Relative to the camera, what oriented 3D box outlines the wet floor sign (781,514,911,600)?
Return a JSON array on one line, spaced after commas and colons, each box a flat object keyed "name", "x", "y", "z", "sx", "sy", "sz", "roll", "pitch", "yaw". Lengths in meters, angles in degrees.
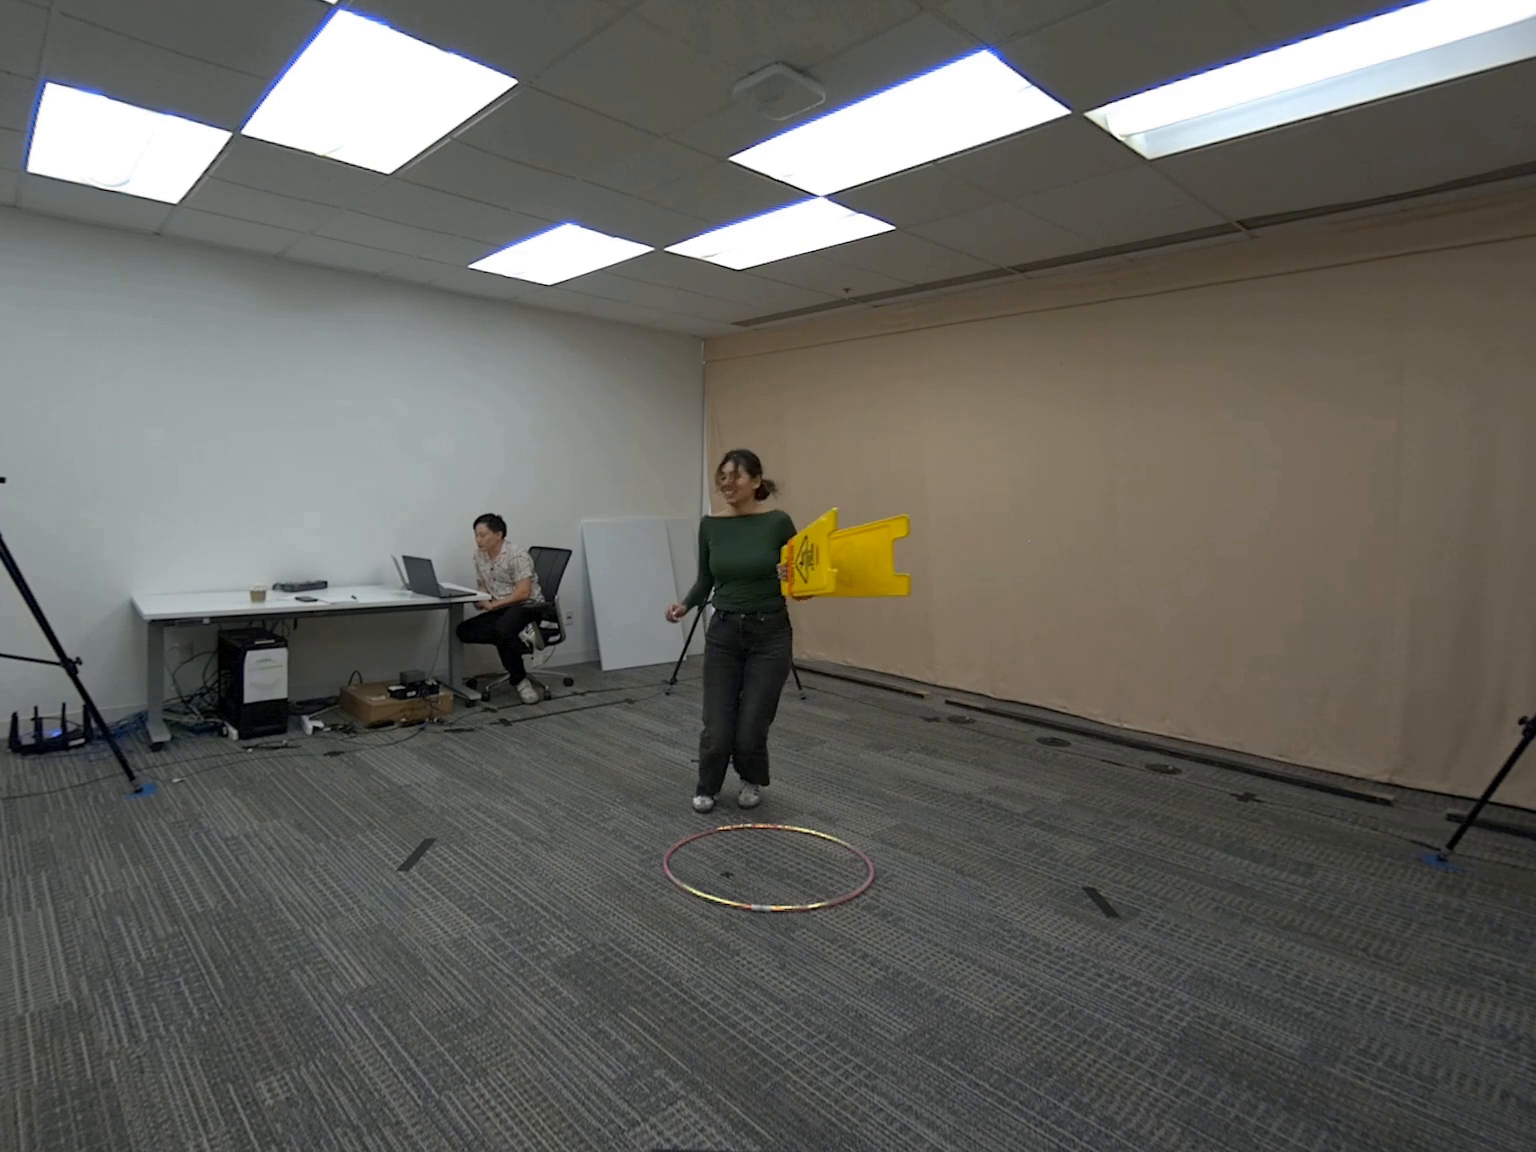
[{"name": "wet floor sign", "x": 0.186, "y": -0.008, "z": 3.092, "sx": 0.284, "sy": 0.283, "sz": 0.655, "roll": 3, "pitch": -5, "yaw": -26}]
